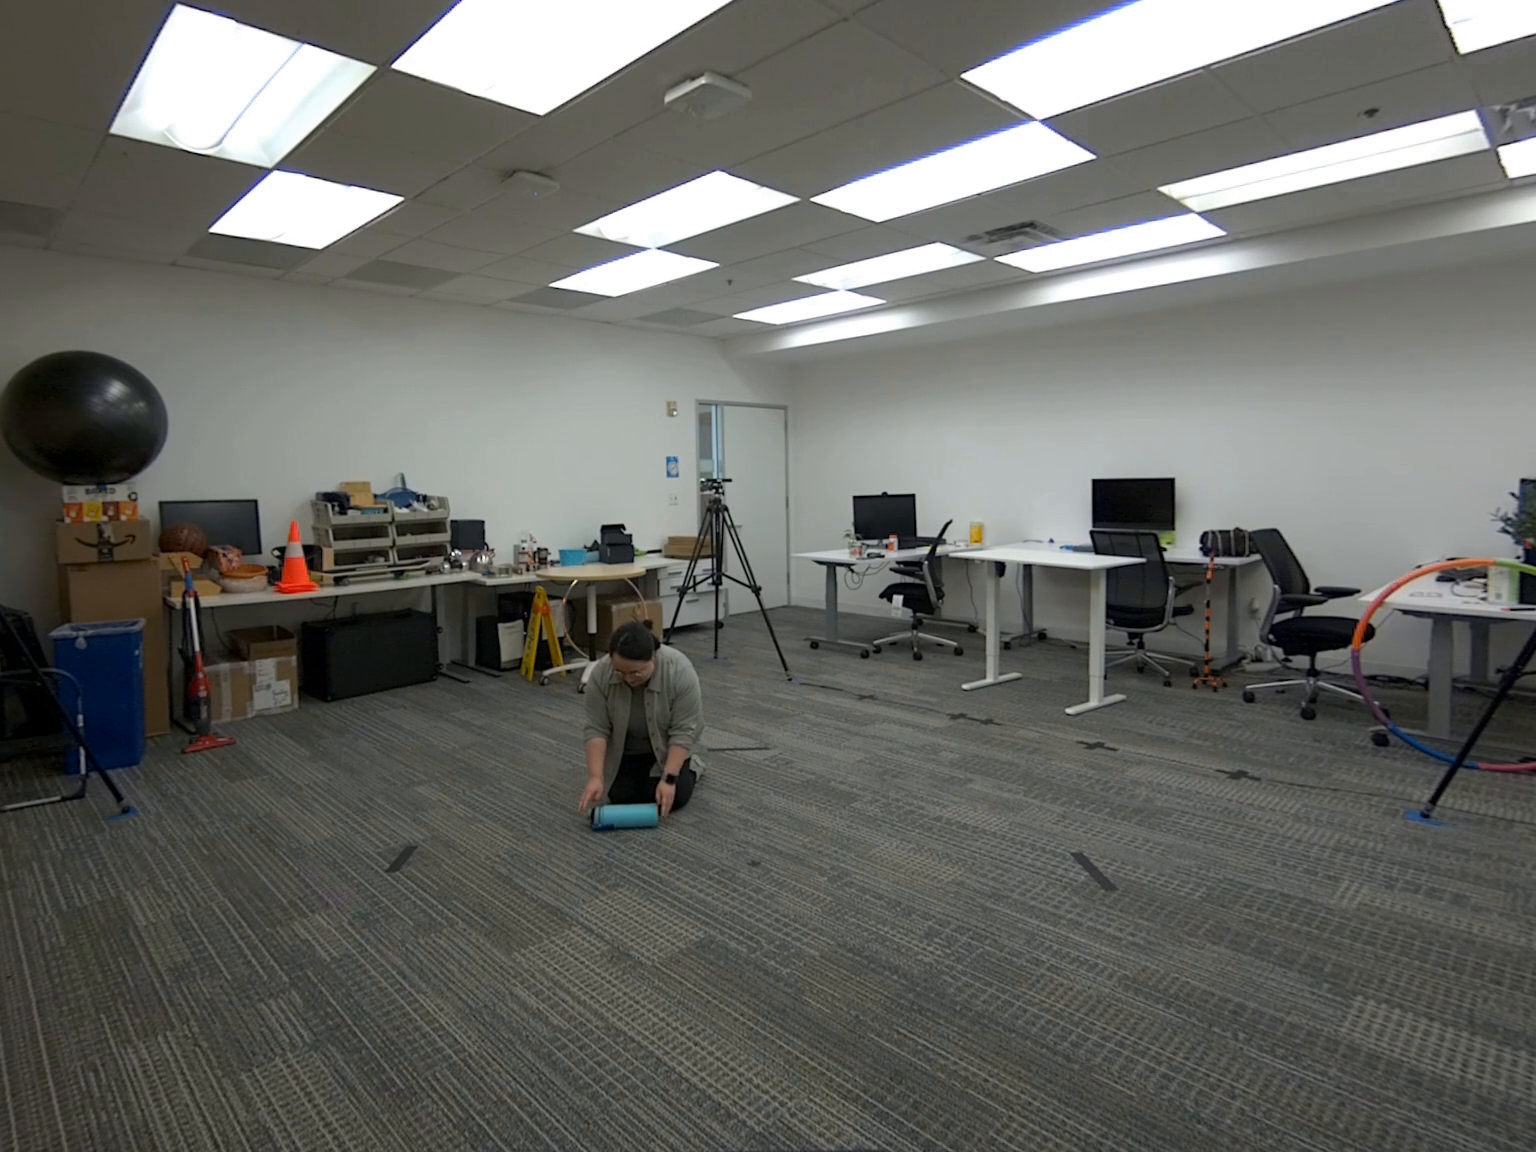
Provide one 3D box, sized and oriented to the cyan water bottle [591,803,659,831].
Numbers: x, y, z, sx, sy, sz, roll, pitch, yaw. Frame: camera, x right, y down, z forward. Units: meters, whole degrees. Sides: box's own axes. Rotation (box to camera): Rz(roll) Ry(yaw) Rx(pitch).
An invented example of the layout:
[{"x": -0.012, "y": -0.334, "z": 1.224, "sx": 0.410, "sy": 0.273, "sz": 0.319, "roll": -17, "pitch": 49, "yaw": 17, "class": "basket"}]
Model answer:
[{"x": -0.593, "y": 0.975, "z": 3.448, "sx": 0.282, "sy": 0.092, "sz": 0.093, "roll": -3, "pitch": 5, "yaw": -5, "class": "cyan water bottle"}]
